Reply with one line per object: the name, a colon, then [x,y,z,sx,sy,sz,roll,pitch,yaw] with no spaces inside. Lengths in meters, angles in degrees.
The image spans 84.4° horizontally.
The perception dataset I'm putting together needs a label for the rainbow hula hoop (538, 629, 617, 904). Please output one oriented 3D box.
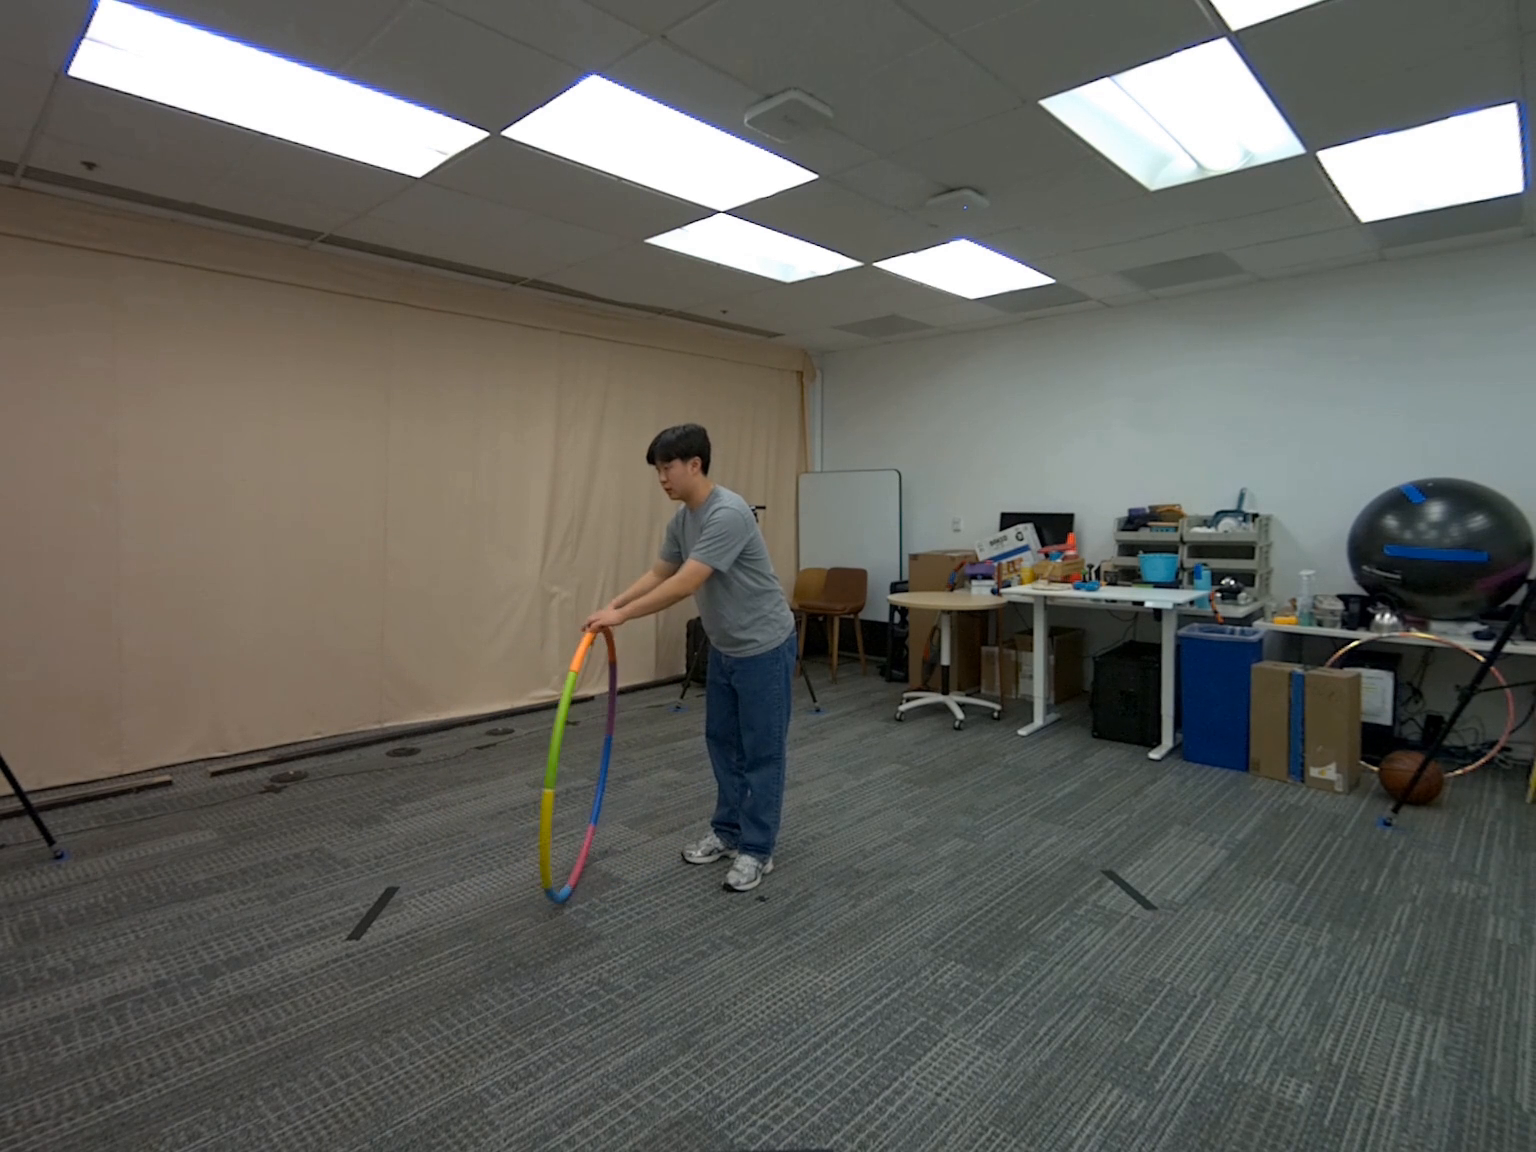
rainbow hula hoop: [-0.668,0.663,3.054,0.035,0.977,0.979,8,4,-1]
